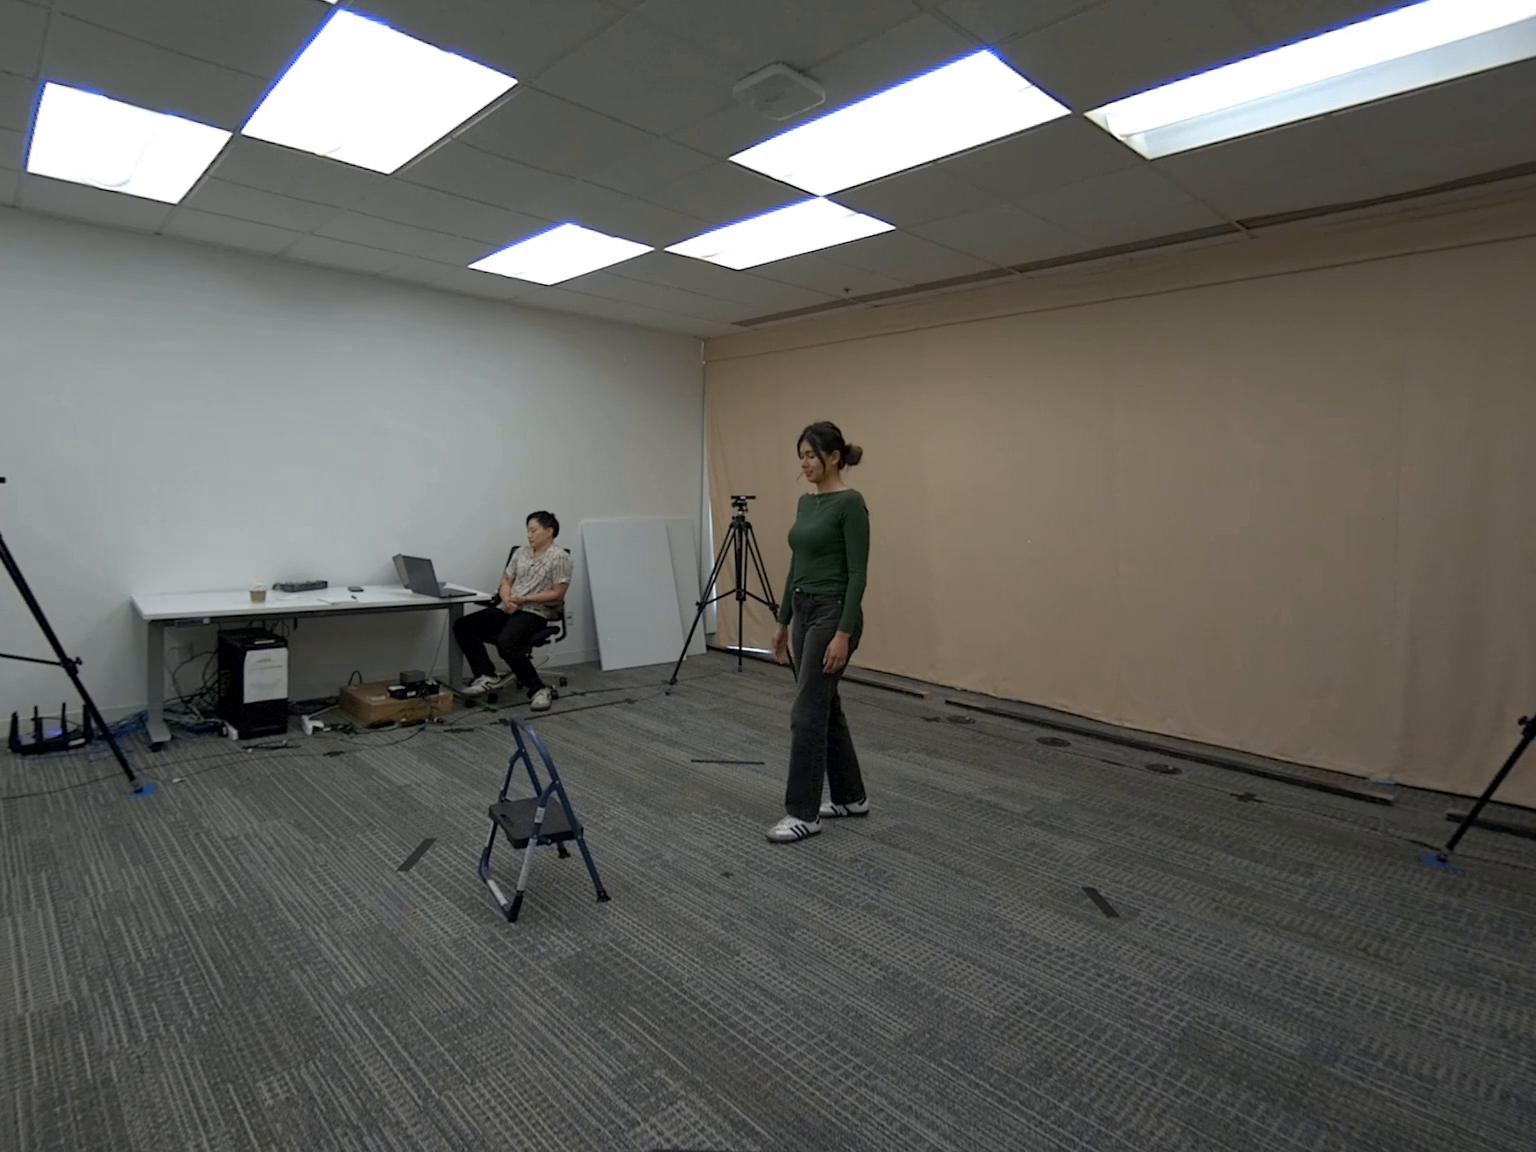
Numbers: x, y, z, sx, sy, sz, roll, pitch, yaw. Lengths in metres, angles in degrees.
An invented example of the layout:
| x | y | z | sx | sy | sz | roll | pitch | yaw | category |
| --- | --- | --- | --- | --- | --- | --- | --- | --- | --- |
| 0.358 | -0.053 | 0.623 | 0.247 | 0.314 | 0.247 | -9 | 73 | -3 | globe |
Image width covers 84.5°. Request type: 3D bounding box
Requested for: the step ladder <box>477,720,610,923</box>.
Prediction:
| x | y | z | sx | sy | sz | roll | pitch | yaw | category |
| --- | --- | --- | --- | --- | --- | --- | --- | --- | --- |
| -0.801 | 0.798 | 2.961 | 0.342 | 0.604 | 0.441 | -1 | 4 | -33 | step ladder |
